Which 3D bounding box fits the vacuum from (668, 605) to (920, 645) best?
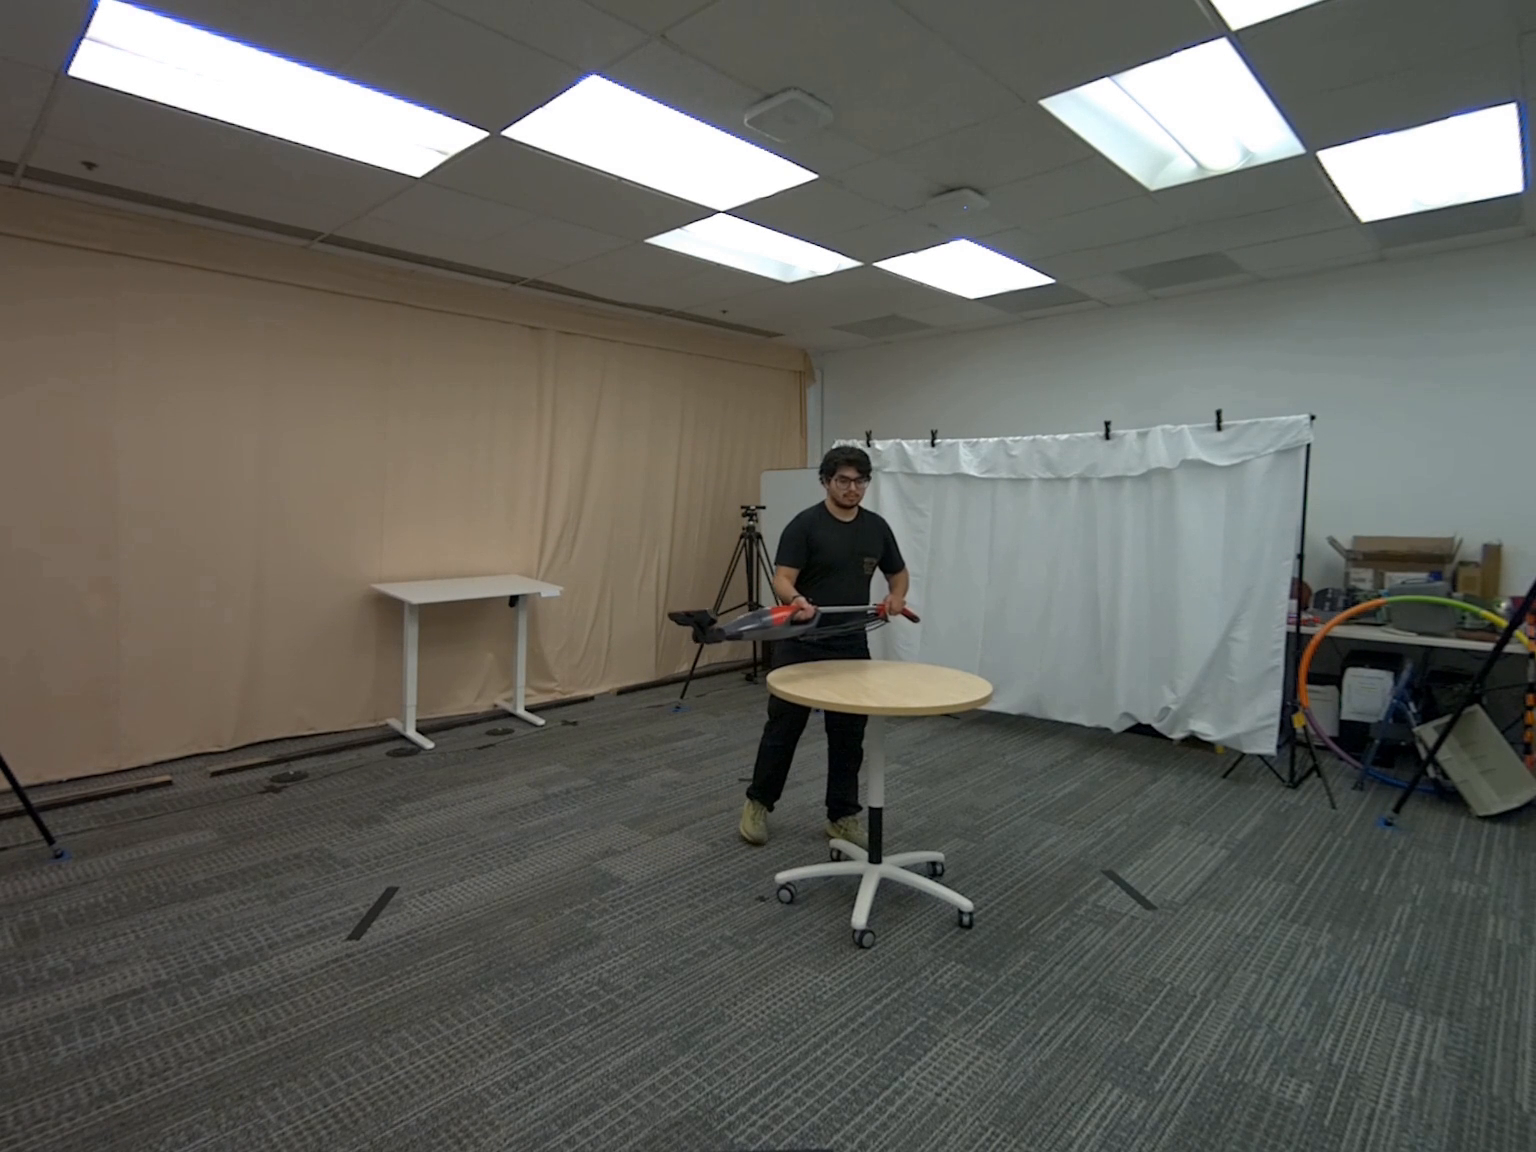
[{"bbox_3d":[0.167,0.179,3.083,1.018,0.144,0.259,1,-5,-34],"label":"vacuum"}]
